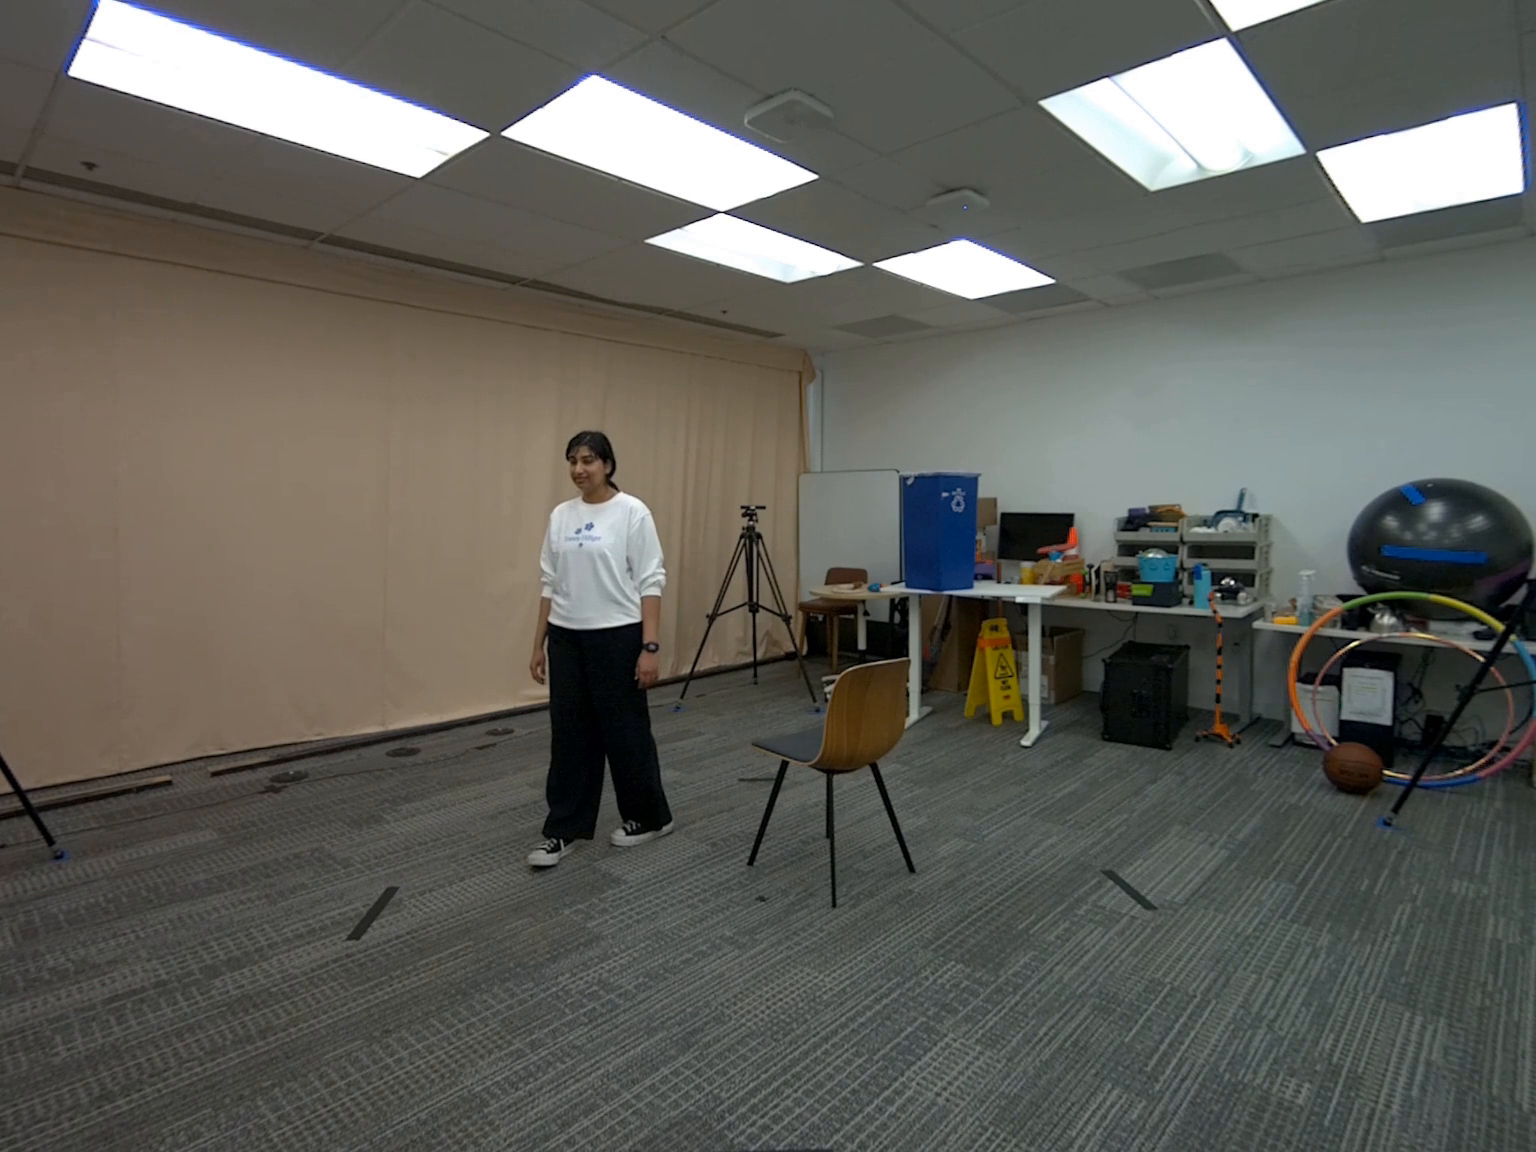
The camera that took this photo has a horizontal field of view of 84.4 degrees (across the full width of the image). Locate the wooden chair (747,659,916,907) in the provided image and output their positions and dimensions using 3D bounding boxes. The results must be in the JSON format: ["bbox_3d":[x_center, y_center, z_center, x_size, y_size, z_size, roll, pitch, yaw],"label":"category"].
[{"bbox_3d":[0.237,0.695,3.201,0.463,0.874,0.541,-3,9,-41],"label":"wooden chair"}]
